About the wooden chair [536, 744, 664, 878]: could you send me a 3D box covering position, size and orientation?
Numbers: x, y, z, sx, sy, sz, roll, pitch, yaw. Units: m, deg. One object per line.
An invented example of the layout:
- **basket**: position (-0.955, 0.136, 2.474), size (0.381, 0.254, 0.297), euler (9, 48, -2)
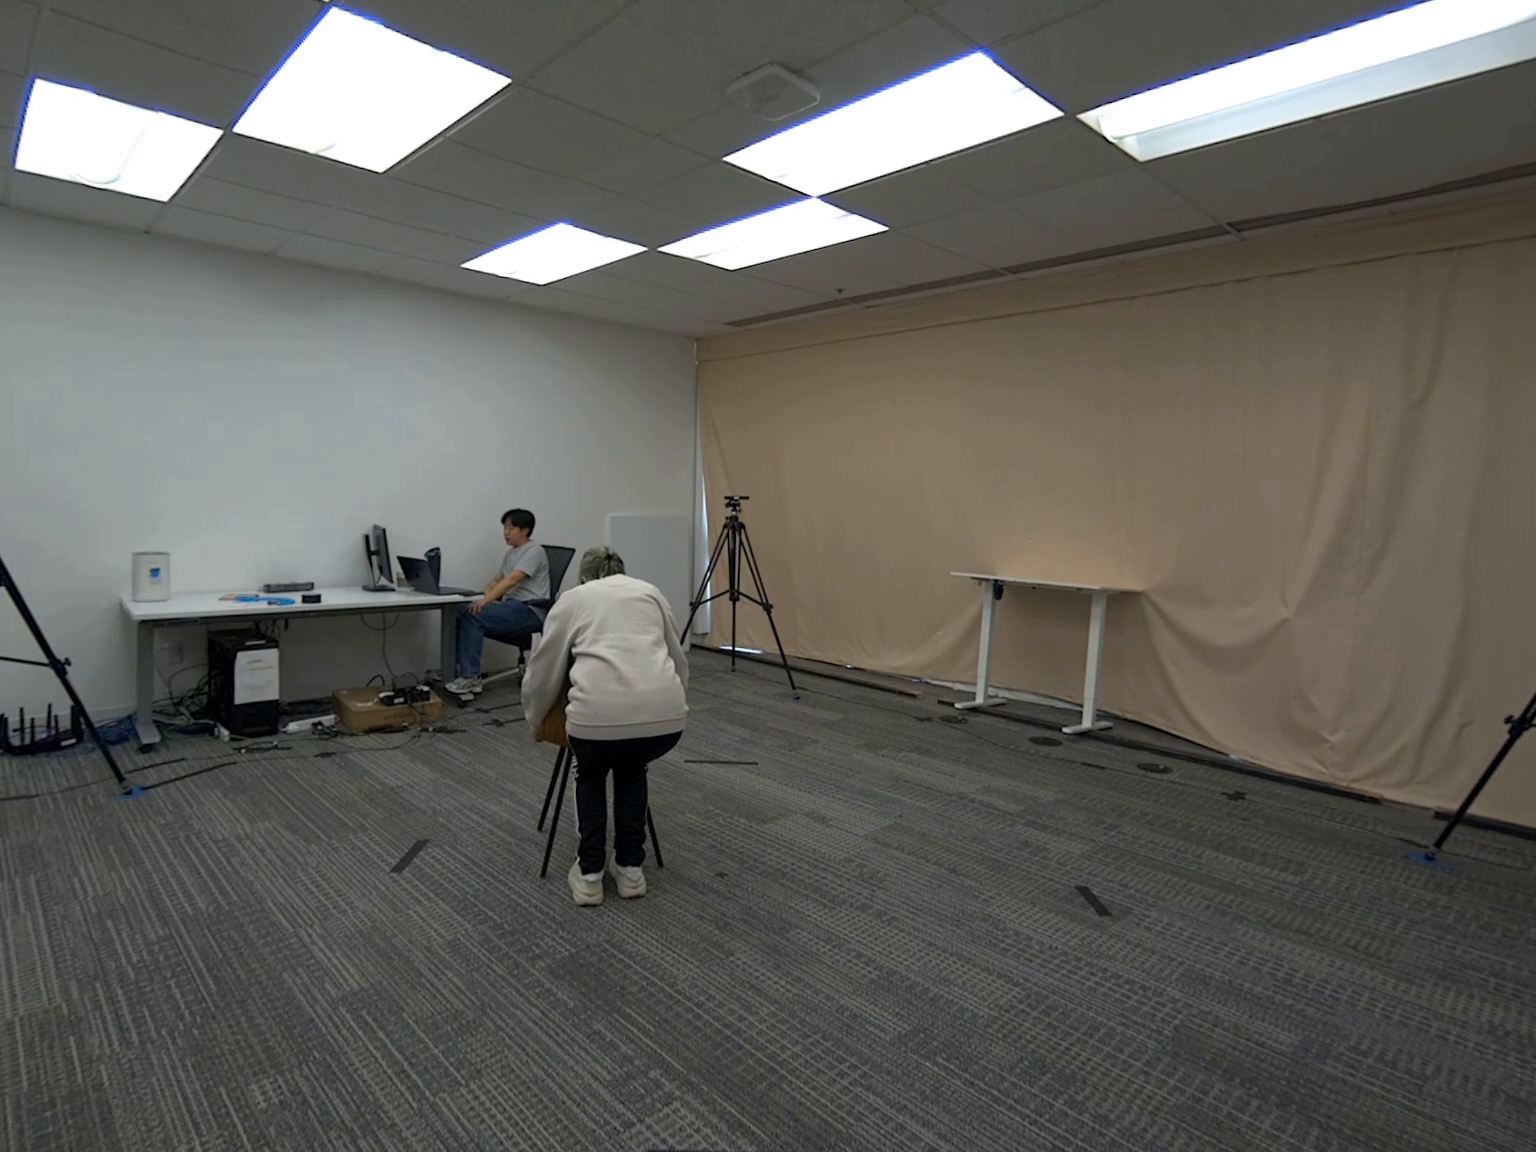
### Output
- **wooden chair**: position (-0.671, 0.650, 3.304), size (0.472, 0.873, 0.532), euler (0, 8, -16)
